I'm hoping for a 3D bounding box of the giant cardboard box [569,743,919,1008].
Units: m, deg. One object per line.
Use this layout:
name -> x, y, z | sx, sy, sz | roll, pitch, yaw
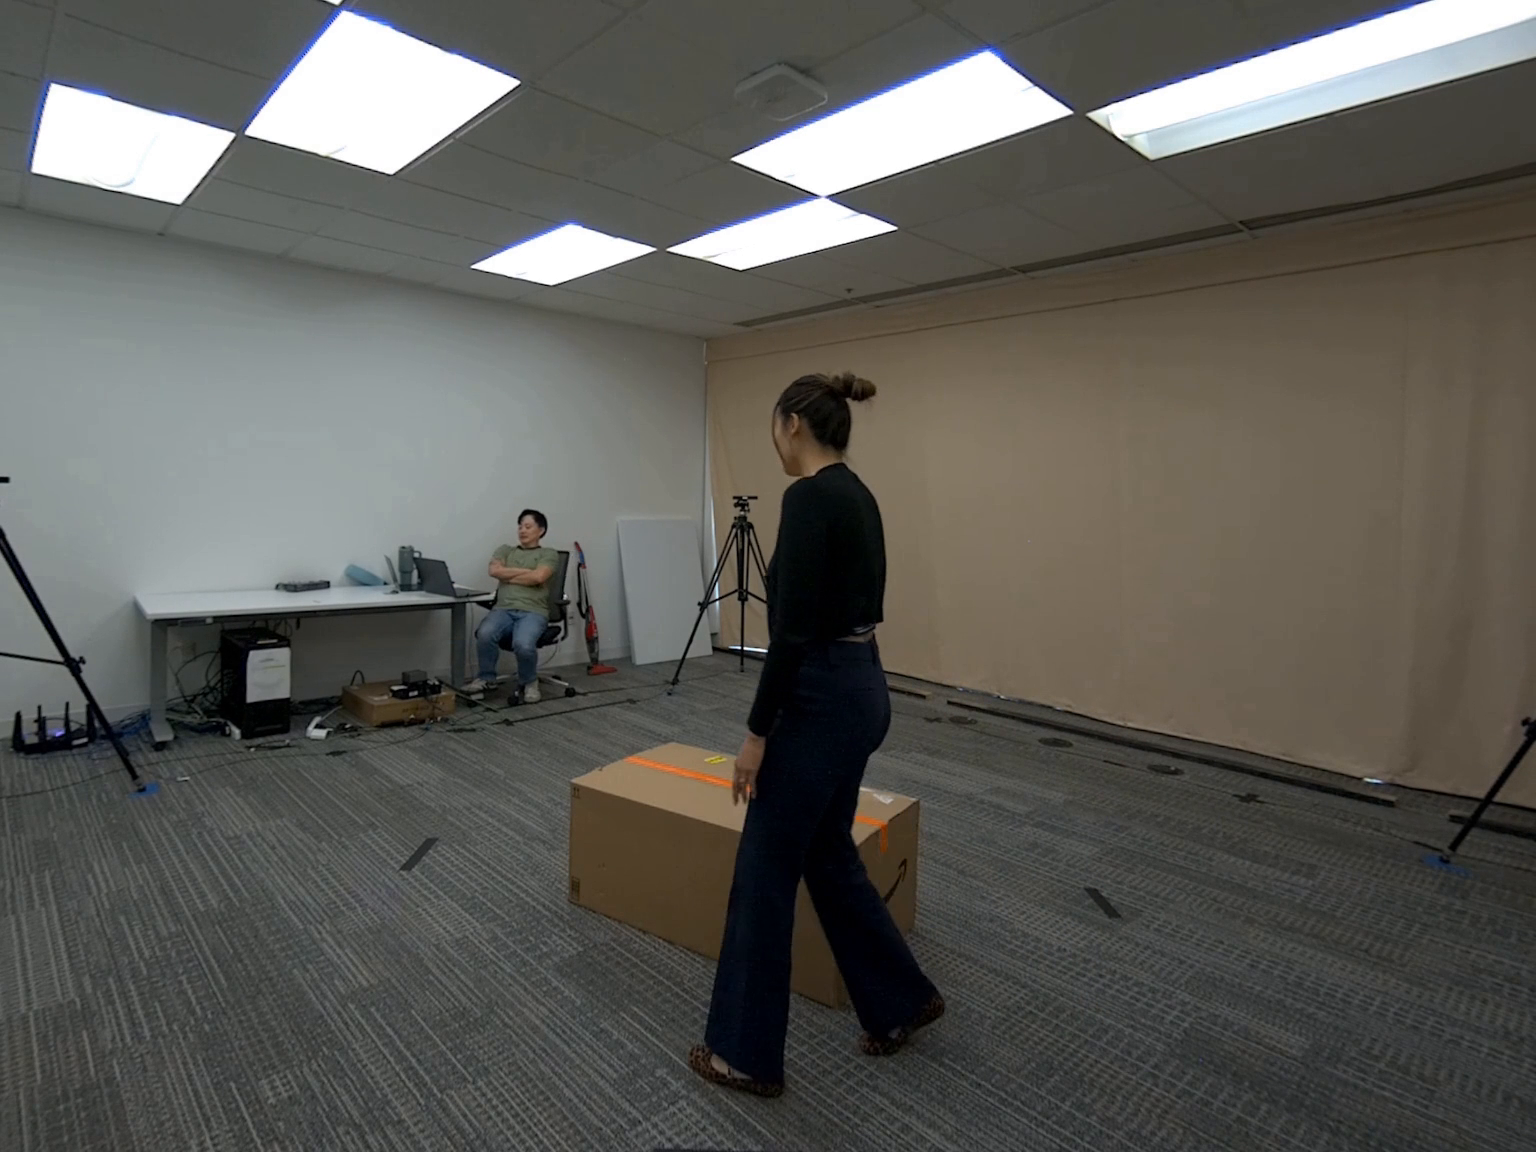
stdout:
giant cardboard box -> -0.098, 0.921, 2.807 | 1.050, 0.425, 0.566 | 5, 7, 33
